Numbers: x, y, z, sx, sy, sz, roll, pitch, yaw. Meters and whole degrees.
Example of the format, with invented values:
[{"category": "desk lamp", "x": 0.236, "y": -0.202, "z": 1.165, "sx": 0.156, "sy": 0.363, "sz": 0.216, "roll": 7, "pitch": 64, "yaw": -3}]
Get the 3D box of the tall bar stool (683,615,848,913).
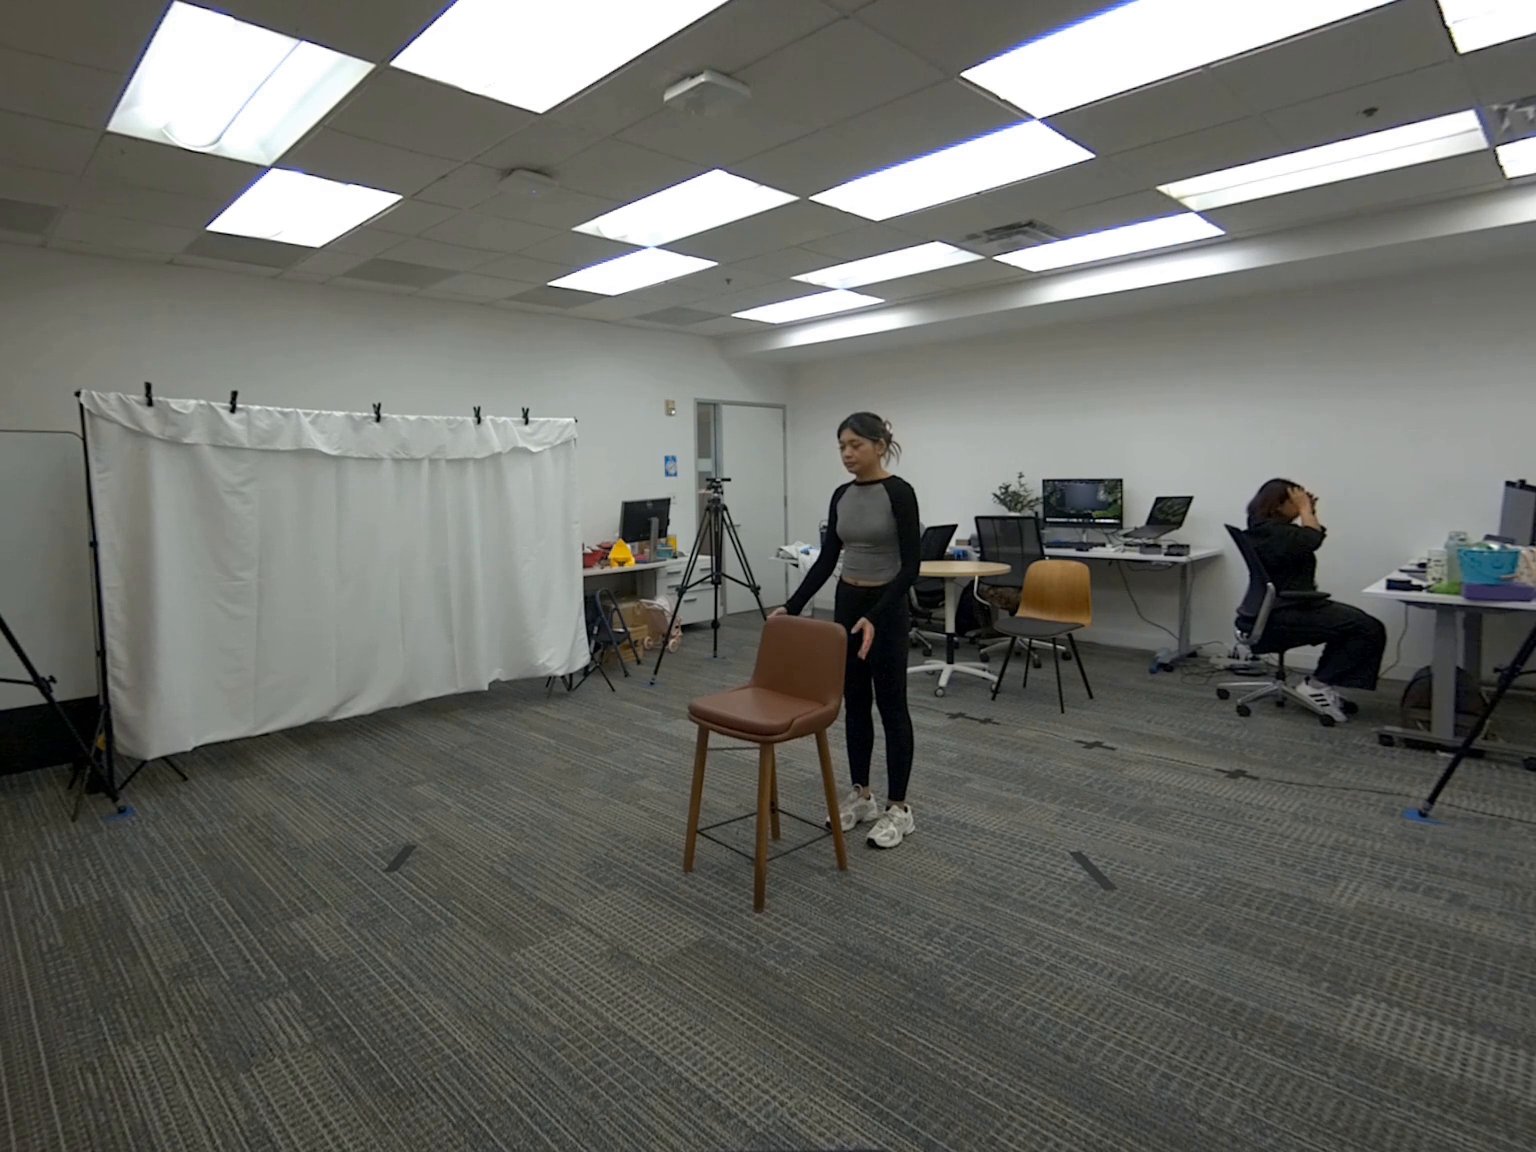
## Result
[{"category": "tall bar stool", "x": 0.001, "y": 0.614, "z": 3.020, "sx": 0.454, "sy": 0.888, "sz": 0.470, "roll": -1, "pitch": 4, "yaw": -42}]
